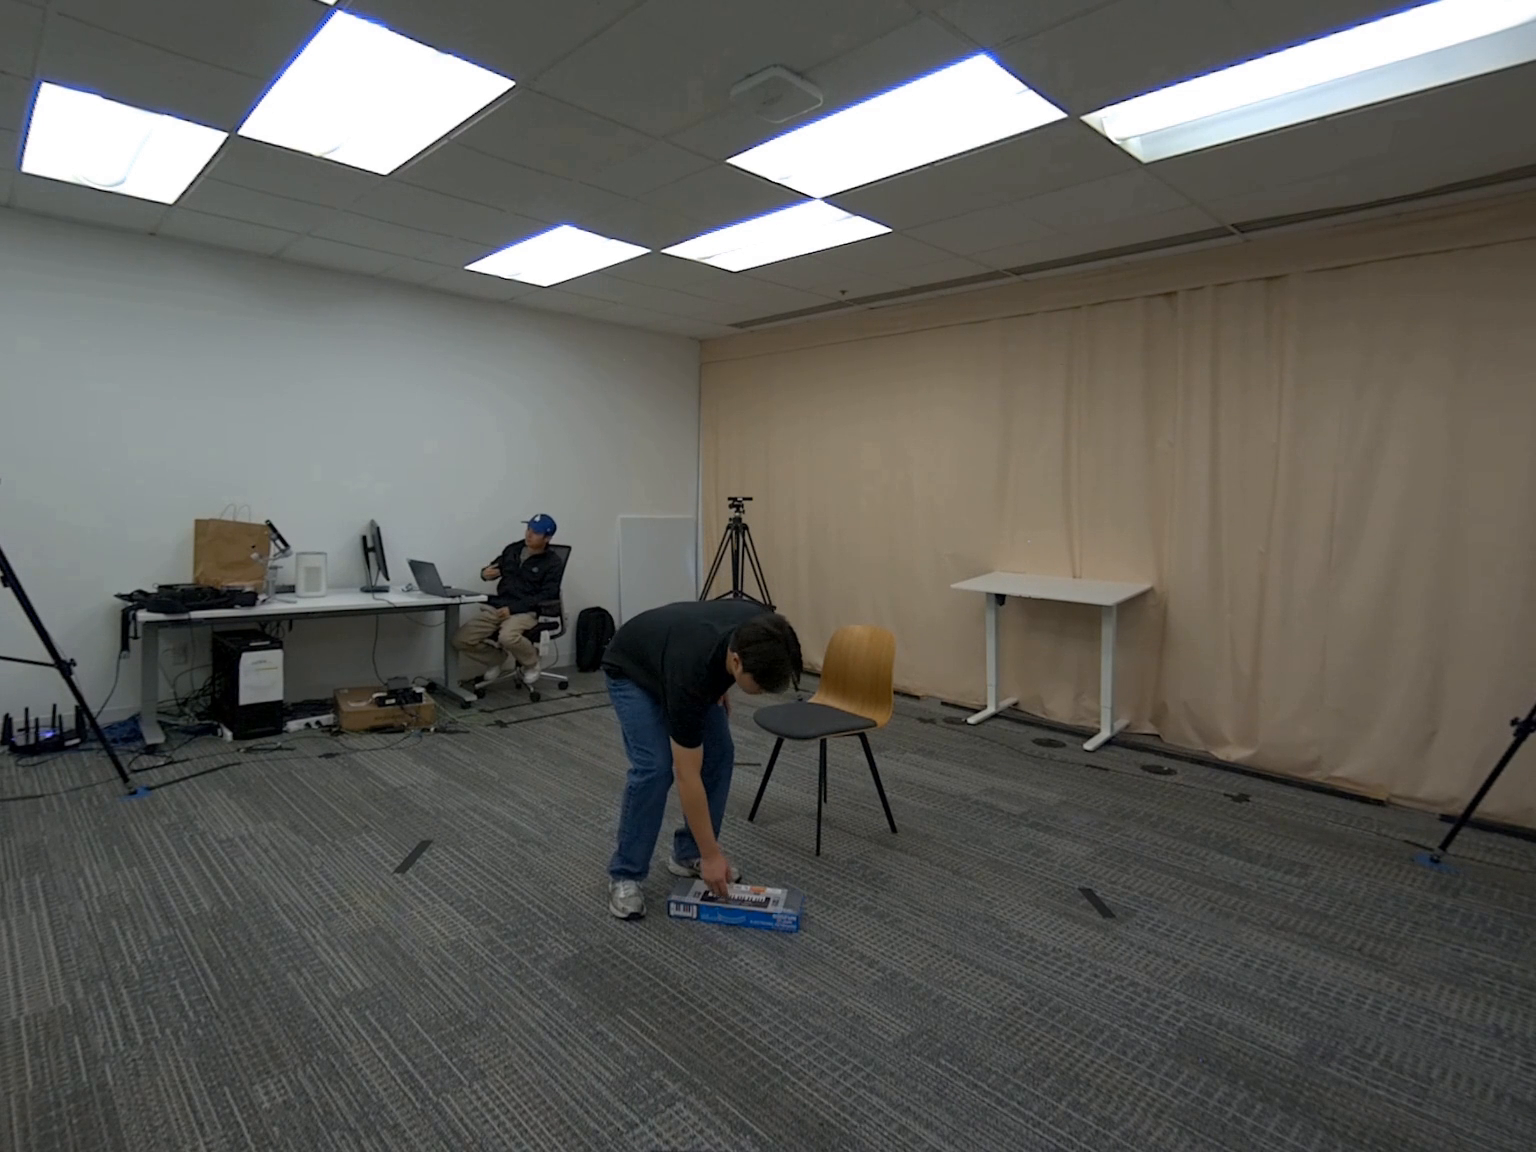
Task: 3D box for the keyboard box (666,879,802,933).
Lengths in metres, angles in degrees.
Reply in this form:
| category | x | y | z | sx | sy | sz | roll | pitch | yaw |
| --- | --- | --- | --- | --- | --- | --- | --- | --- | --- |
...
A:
| category | x | y | z | sx | sy | sz | roll | pitch | yaw |
| --- | --- | --- | --- | --- | --- | --- | --- | --- | --- |
| keyboard box | -0.112 | 1.108 | 2.819 | 0.441 | 0.059 | 0.175 | 1 | 5 | 11 |
